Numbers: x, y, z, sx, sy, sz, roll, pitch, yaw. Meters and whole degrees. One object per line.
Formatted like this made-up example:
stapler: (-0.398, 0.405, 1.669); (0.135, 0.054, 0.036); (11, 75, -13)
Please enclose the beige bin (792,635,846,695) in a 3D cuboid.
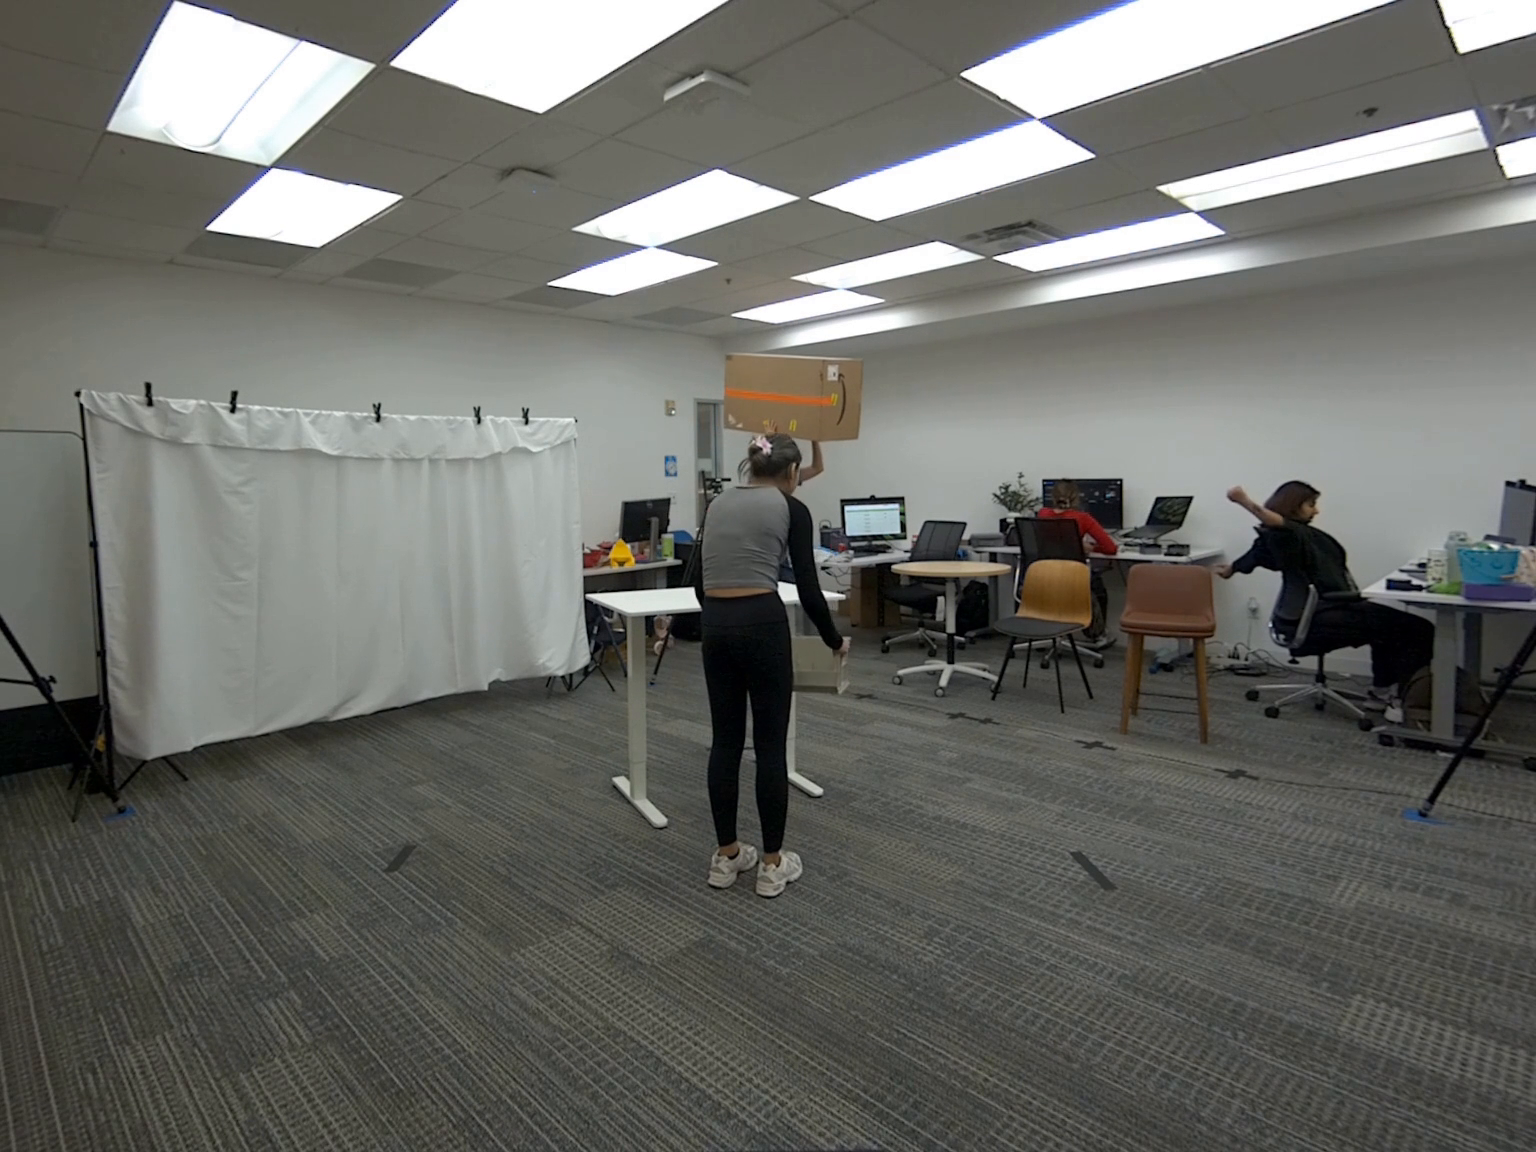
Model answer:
beige bin: (0.093, 0.340, 3.243); (0.427, 0.189, 0.372); (-1, 0, 12)
